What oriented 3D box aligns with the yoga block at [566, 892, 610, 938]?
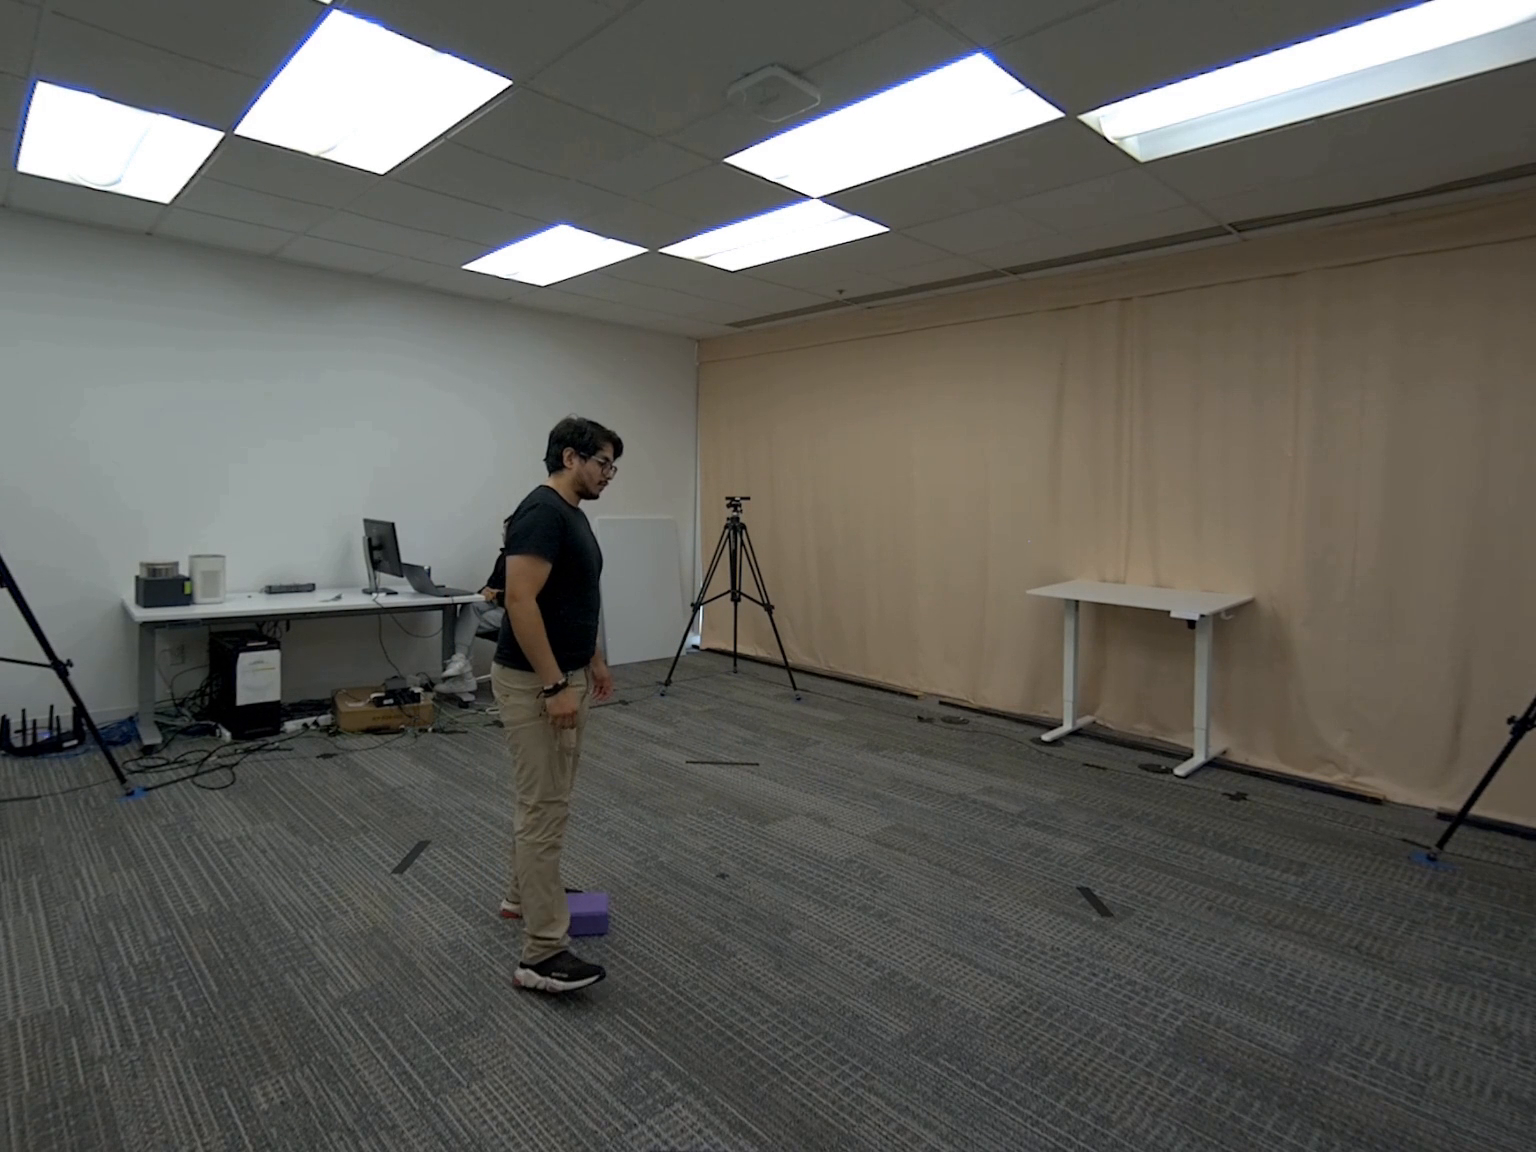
[{"bbox_3d":[-0.636,1.097,2.712,0.228,0.076,0.150,1,4,-8],"label":"yoga block"}]
